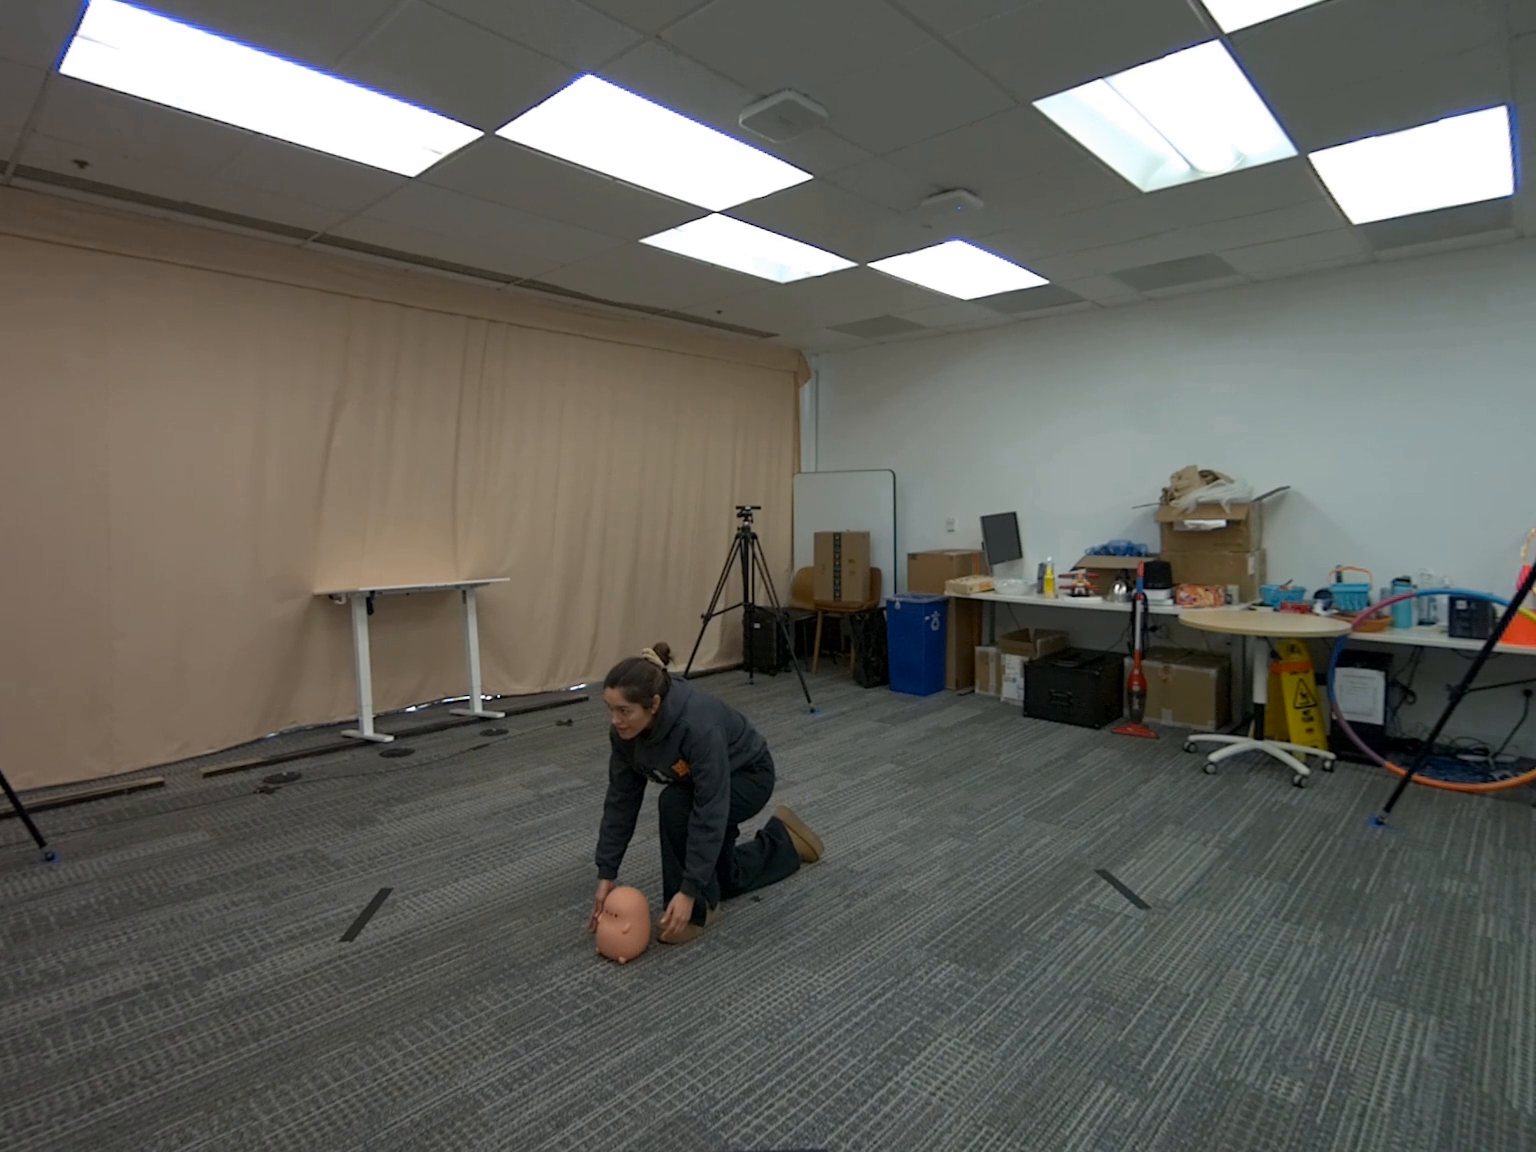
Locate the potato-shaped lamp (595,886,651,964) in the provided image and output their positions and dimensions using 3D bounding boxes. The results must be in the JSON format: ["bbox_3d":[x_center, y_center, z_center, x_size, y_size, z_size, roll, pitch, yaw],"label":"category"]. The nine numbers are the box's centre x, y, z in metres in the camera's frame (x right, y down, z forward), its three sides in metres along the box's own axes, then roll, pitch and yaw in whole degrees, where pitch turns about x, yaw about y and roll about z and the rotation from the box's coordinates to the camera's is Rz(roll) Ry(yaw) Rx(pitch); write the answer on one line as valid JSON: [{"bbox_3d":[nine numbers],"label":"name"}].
[{"bbox_3d":[-0.426,1.077,2.641,0.170,0.197,0.166,5,8,38],"label":"potato-shaped lamp"}]
